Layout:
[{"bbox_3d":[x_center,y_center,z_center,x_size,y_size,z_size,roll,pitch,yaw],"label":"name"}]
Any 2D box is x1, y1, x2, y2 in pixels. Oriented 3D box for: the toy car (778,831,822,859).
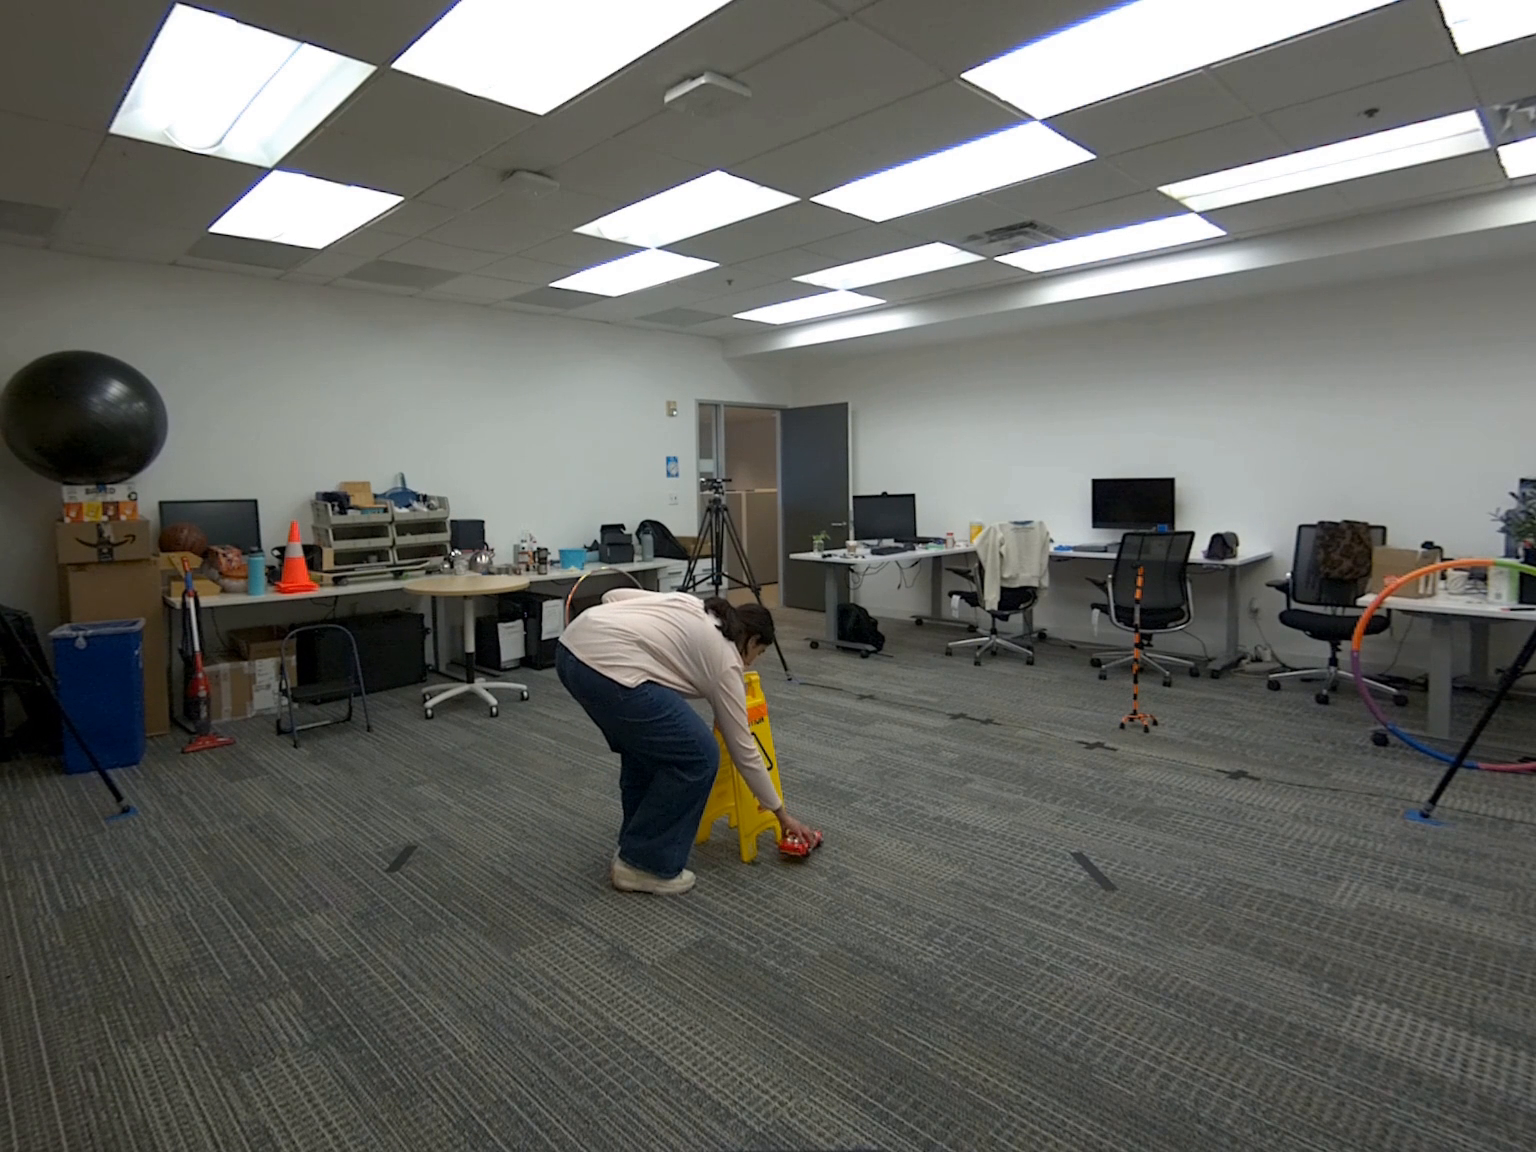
[{"bbox_3d":[0.111,0.976,3.163,0.133,0.084,0.246,3,-11,24],"label":"toy car"}]
